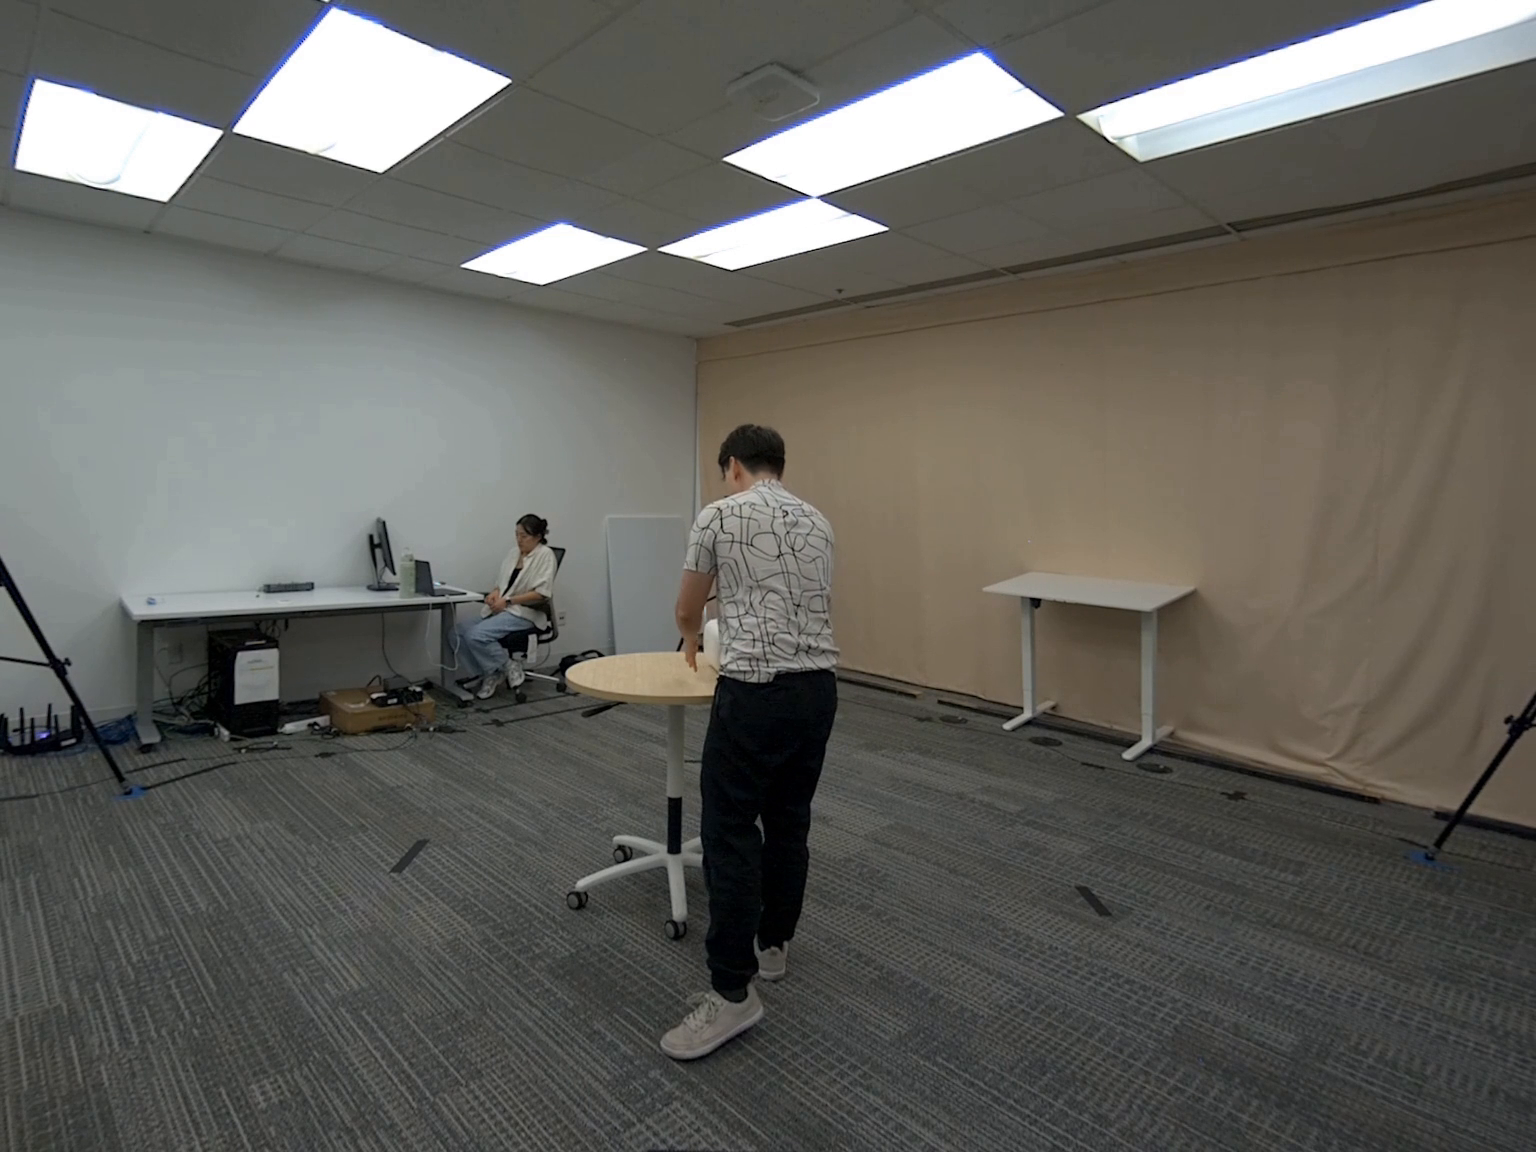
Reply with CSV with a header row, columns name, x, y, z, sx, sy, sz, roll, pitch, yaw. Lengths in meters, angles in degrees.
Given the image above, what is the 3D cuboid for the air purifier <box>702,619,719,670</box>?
name,x,y,z,sx,sy,sz,roll,pitch,yaw
air purifier,-0.124,0.252,2.934,0.170,0.170,0.268,0,4,-12
